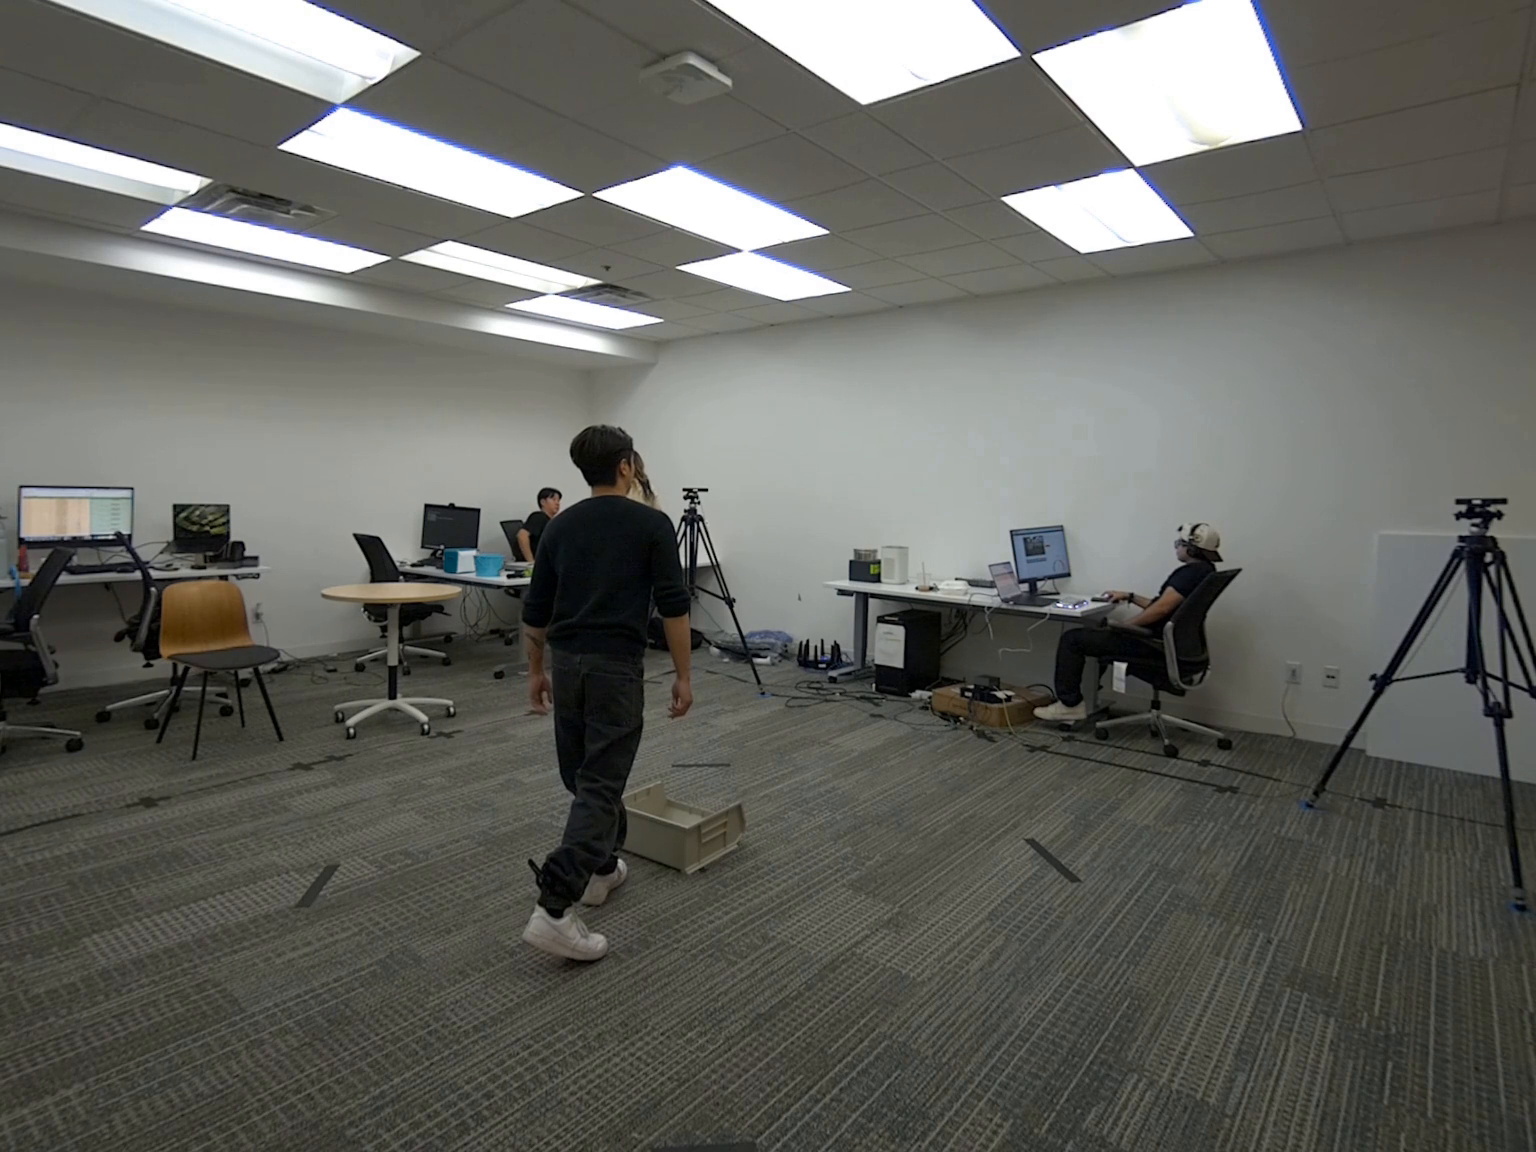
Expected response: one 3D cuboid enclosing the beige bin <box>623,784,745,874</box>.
[{"bbox_3d":[-0.371,0.959,3.316,0.436,0.188,0.367,5,7,35],"label":"beige bin"}]
